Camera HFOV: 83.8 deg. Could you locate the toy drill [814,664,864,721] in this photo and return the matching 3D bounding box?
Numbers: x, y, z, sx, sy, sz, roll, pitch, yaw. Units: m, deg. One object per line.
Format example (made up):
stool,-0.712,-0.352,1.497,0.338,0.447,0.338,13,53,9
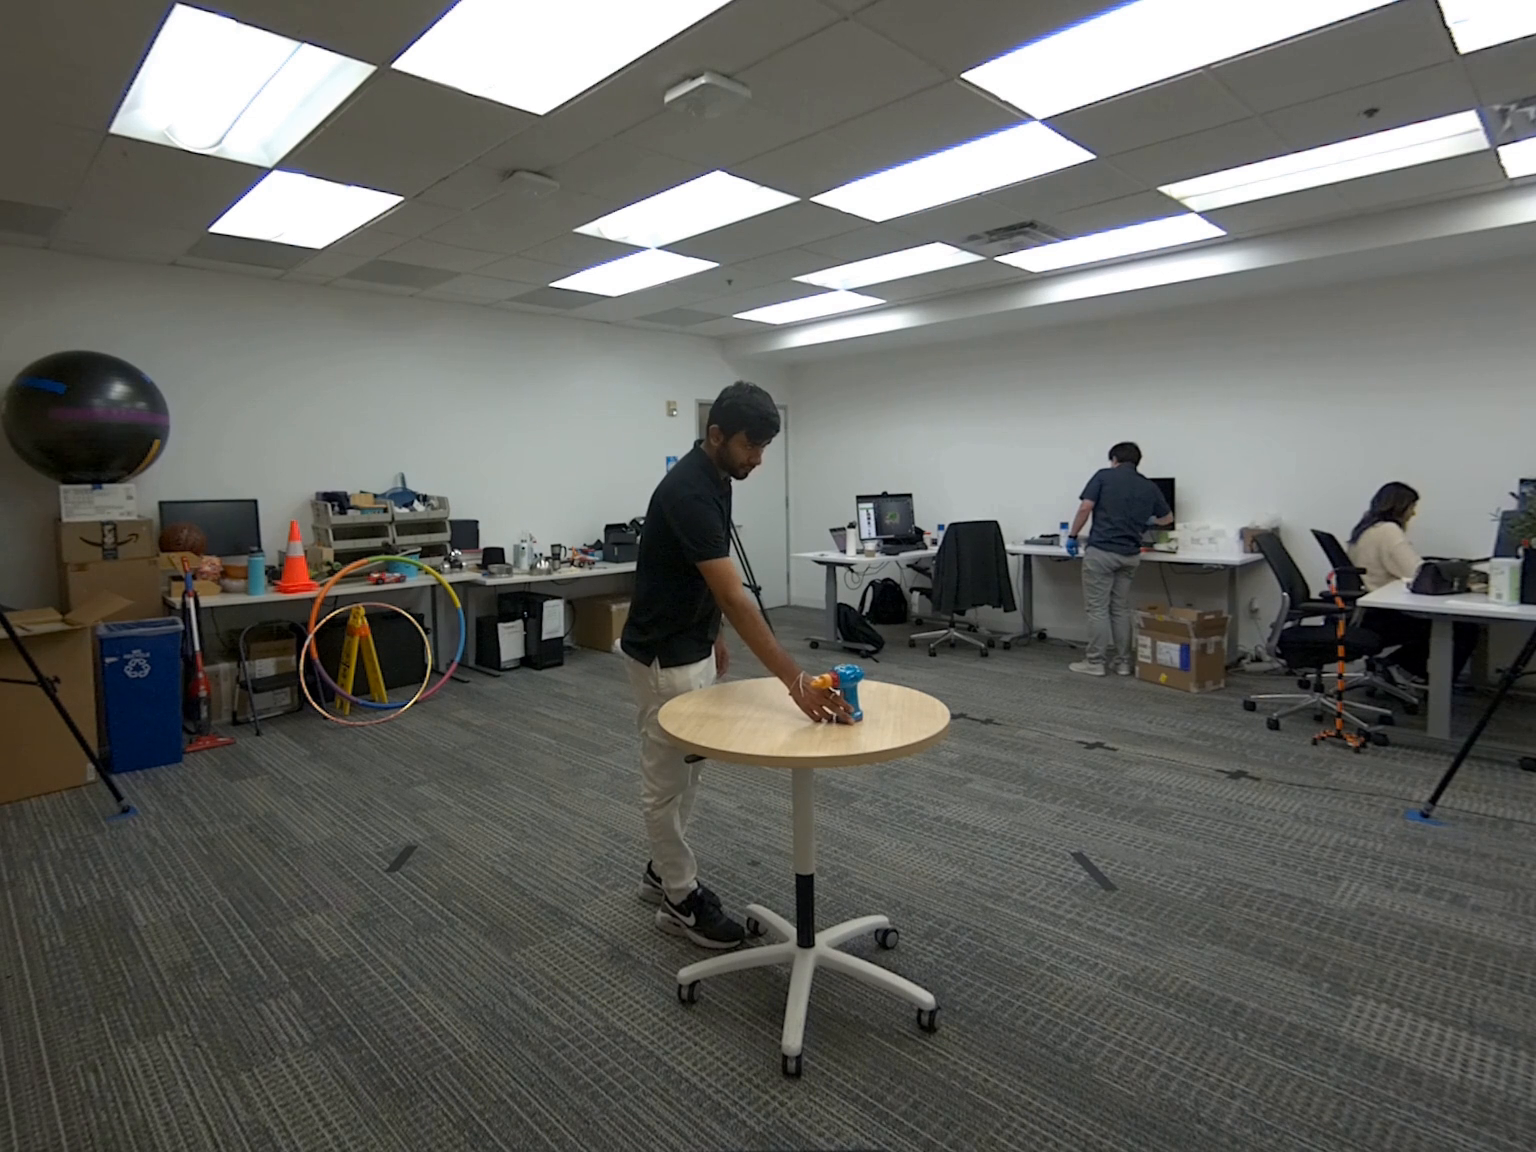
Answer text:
toy drill,0.174,0.296,2.131,0.166,0.145,0.063,-6,8,-34
